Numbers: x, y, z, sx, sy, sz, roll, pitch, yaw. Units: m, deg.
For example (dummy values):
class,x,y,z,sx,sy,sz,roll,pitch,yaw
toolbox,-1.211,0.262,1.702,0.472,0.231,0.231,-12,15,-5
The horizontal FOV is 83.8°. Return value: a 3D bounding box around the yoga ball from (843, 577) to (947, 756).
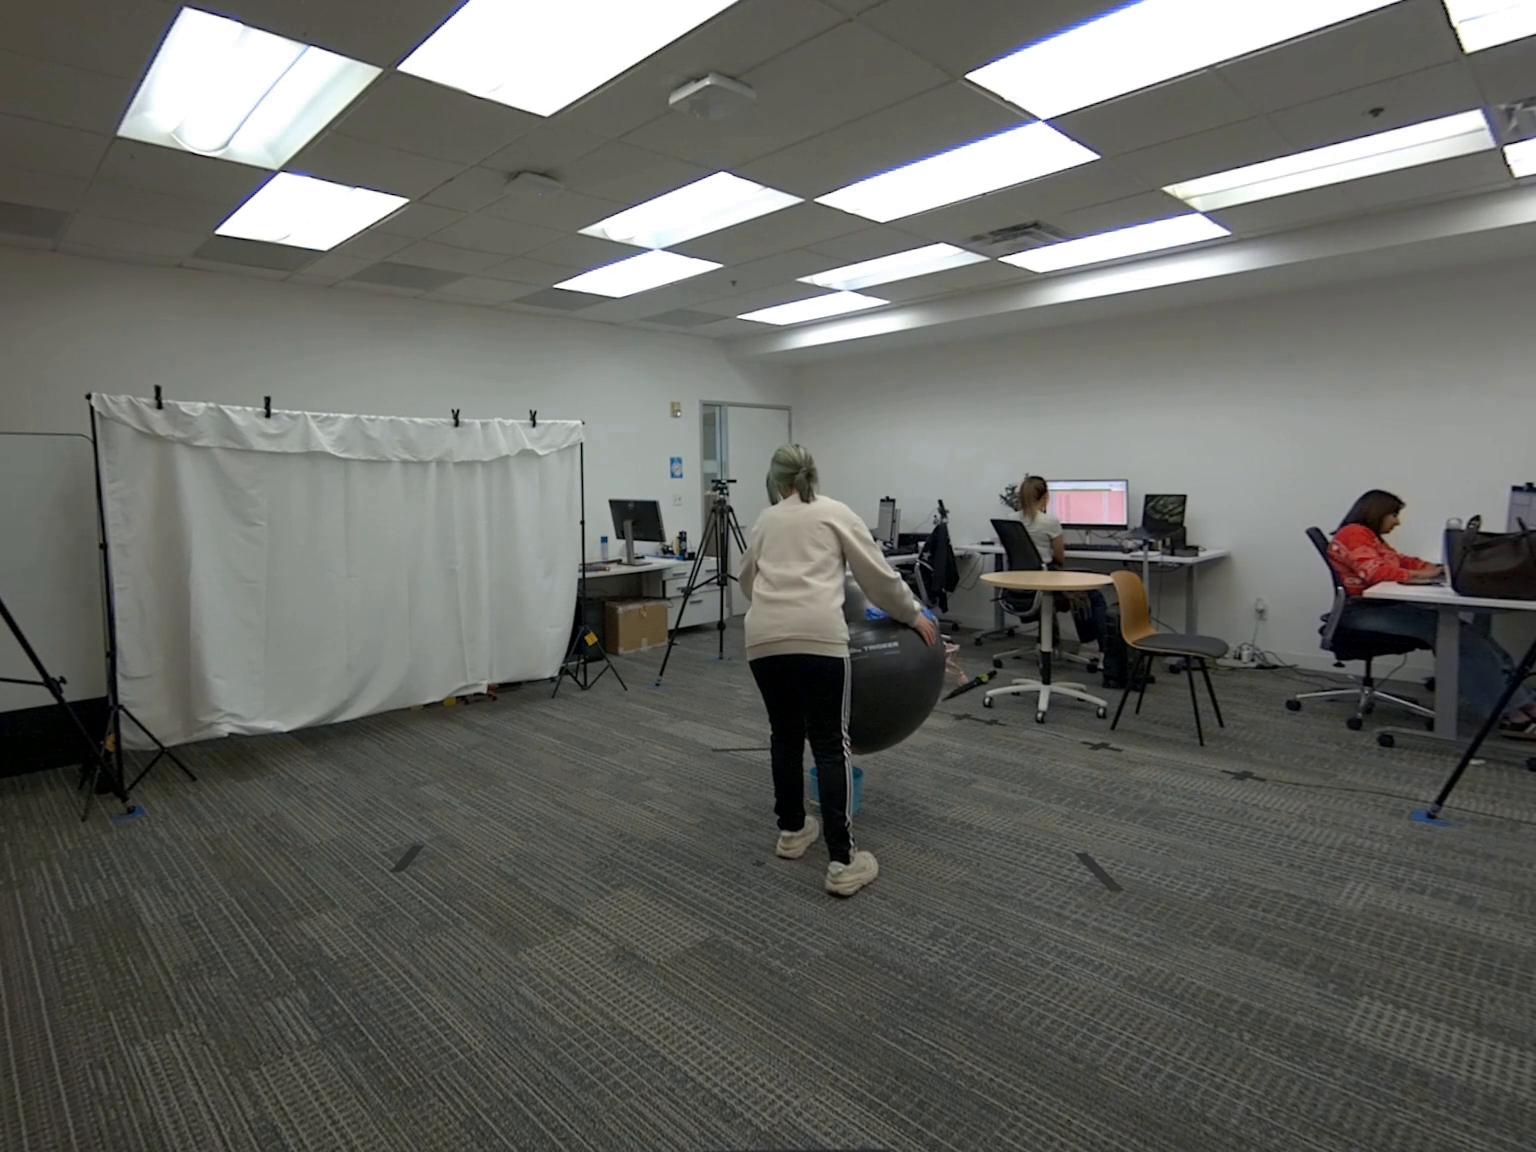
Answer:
class,x,y,z,sx,sy,sz,roll,pitch,yaw
yoga ball,0.361,0.352,3.574,0.757,0.755,0.762,-1,5,-2
